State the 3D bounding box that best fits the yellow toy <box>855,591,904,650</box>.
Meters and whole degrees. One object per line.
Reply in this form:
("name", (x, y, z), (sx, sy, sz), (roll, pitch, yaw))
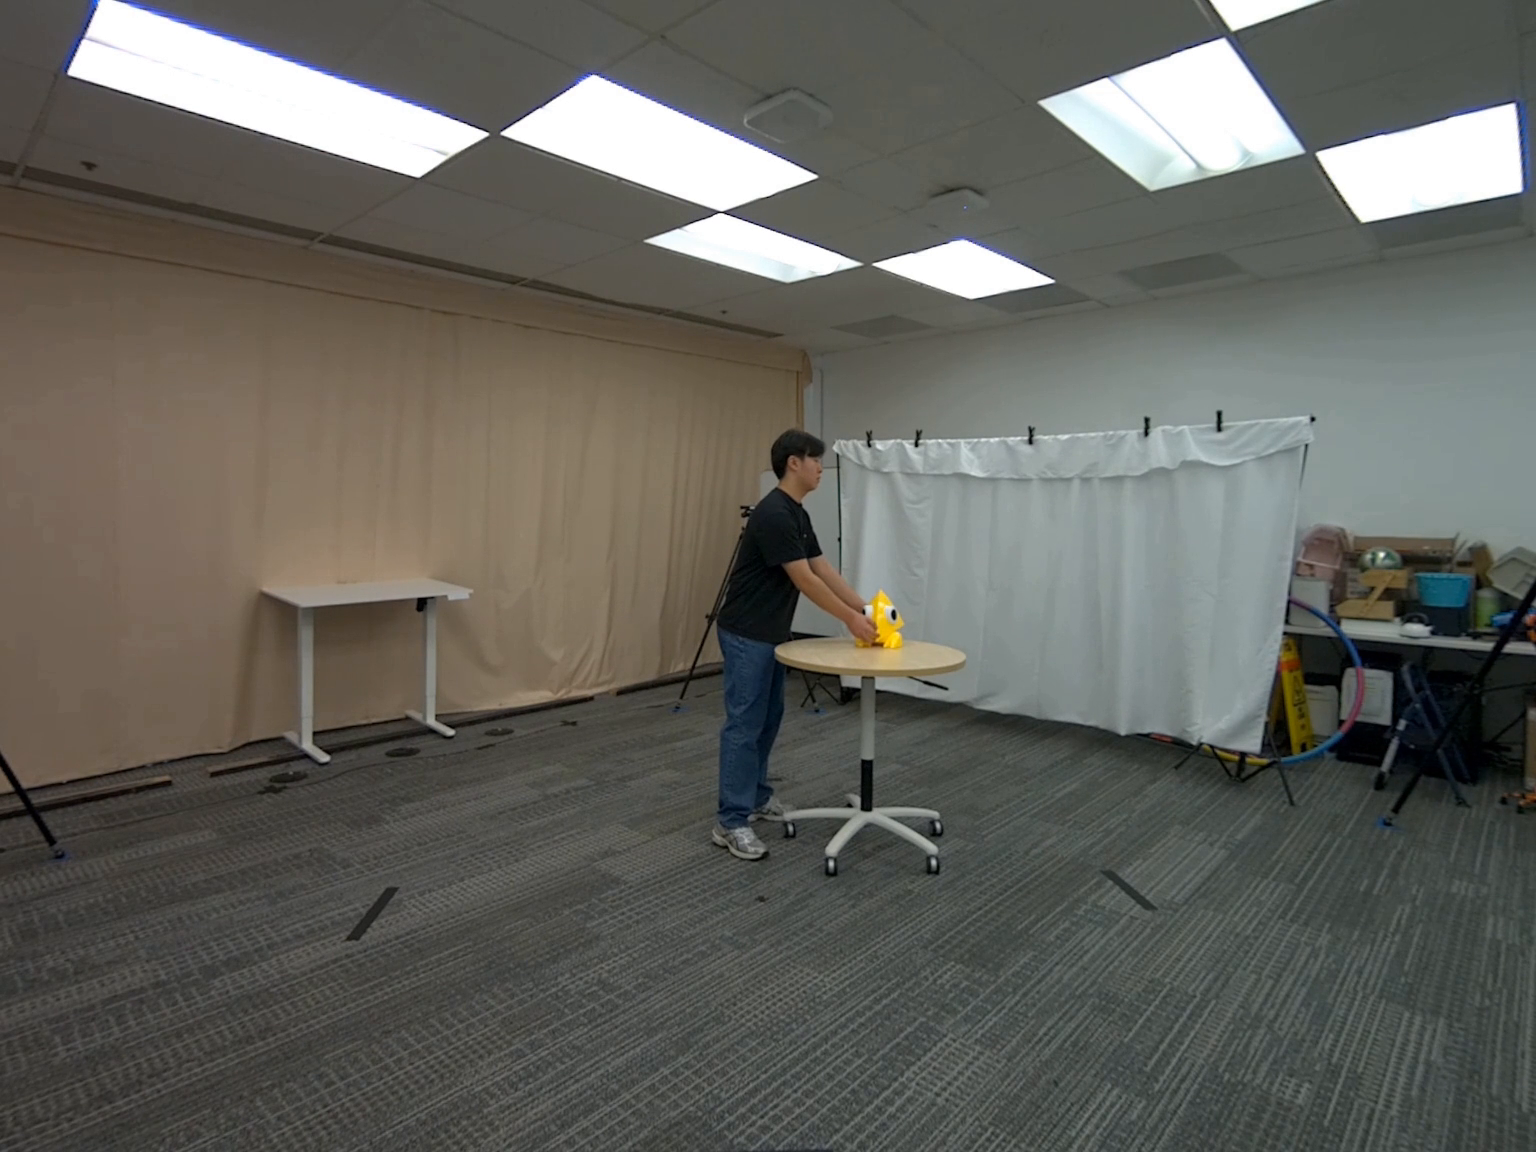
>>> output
("yellow toy", (0.481, 0.181, 3.619), (0.208, 0.230, 0.190), (1, 3, 15))
